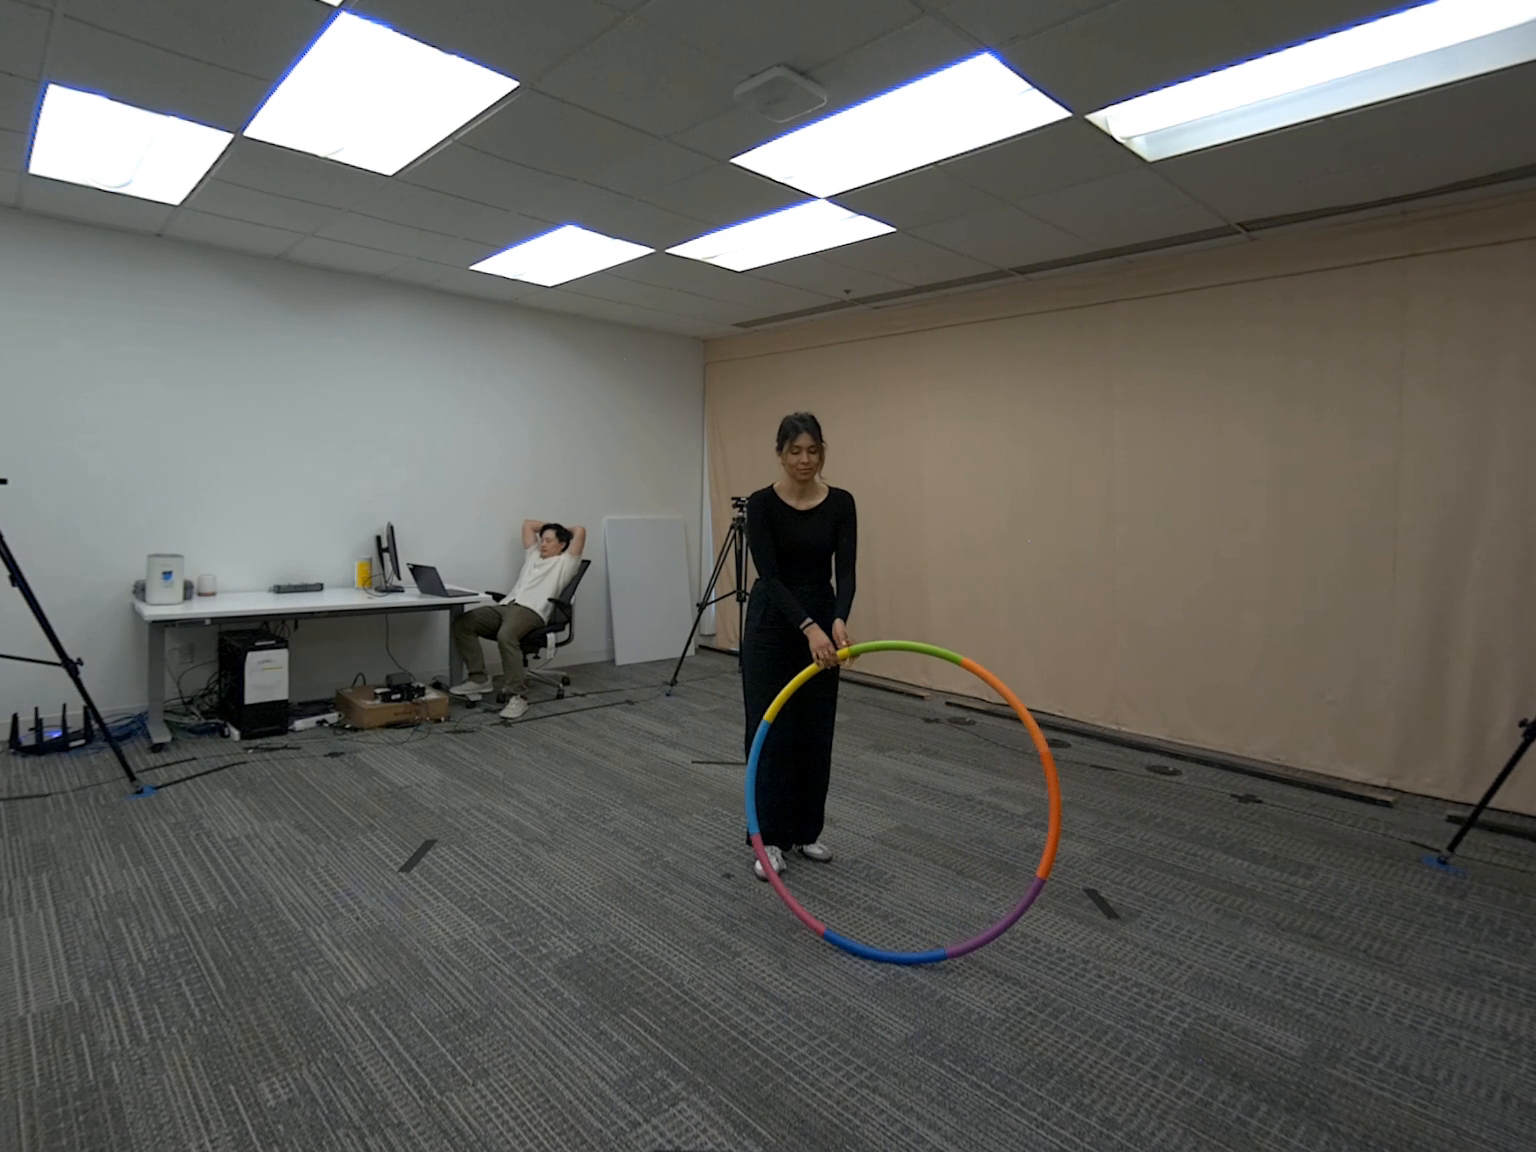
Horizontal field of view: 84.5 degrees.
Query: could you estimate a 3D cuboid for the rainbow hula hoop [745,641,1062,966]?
[{"bbox_3d":[0.388,0.693,2.668,0.991,0.988,0.035,2,-16,15],"label":"rainbow hula hoop"}]
